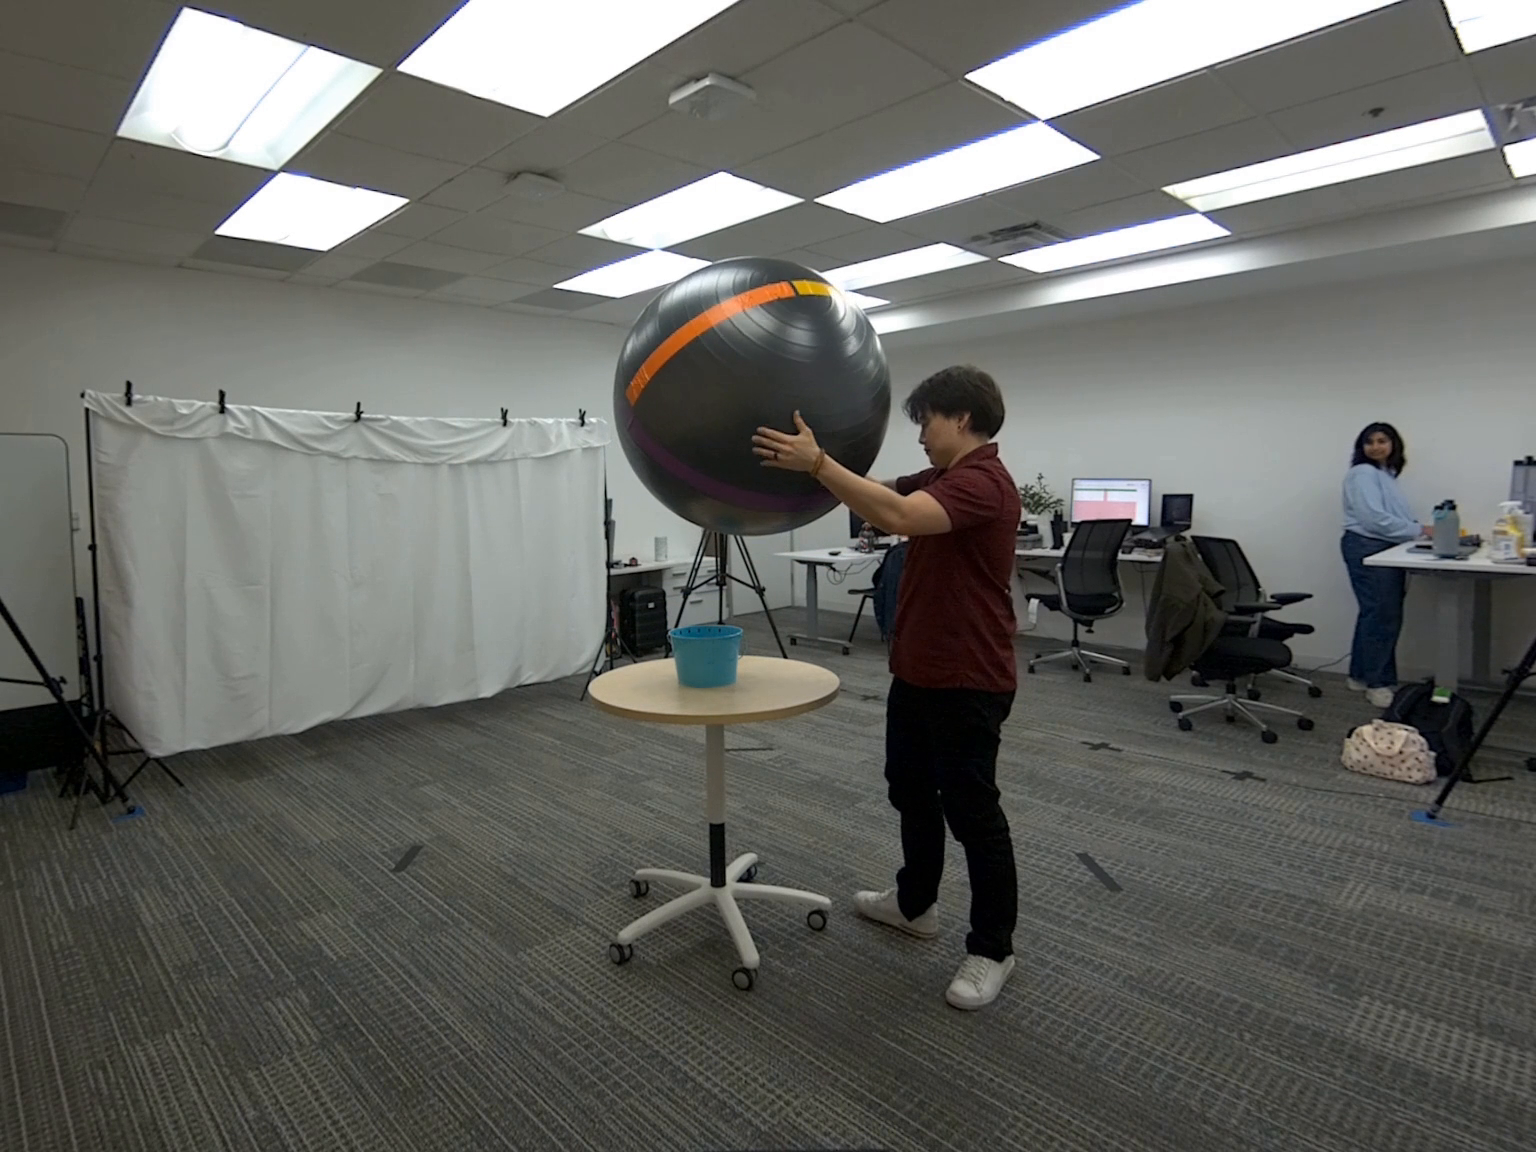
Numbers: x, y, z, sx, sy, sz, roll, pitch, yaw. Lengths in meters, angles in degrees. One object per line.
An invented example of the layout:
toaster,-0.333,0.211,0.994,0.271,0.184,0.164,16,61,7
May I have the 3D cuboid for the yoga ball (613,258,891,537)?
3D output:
yoga ball,-0.043,-0.479,2.359,0.757,0.755,0.762,-1,5,-2
